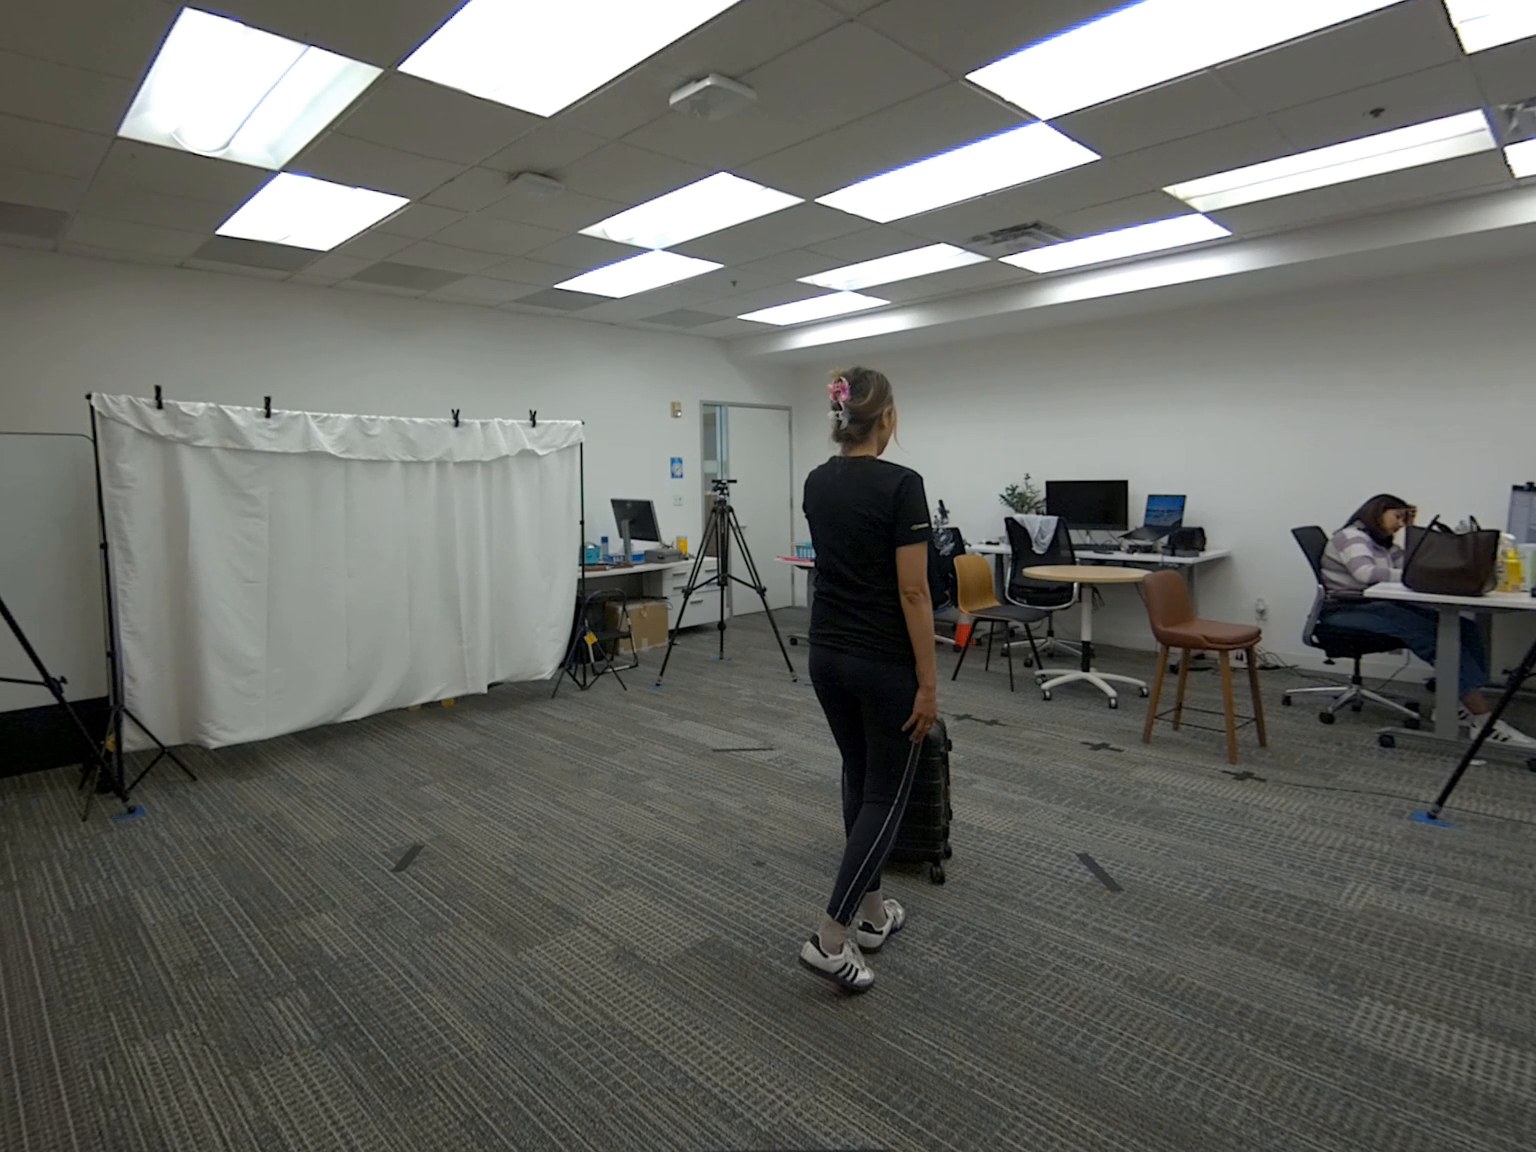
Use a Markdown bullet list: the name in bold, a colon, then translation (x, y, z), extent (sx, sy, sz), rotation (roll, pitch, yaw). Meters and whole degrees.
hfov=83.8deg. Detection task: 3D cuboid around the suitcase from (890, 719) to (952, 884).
- **suitcase**: translation (0.472, 0.566, 3.091), extent (0.390, 0.979, 0.253), rotation (0, -1, 17)
